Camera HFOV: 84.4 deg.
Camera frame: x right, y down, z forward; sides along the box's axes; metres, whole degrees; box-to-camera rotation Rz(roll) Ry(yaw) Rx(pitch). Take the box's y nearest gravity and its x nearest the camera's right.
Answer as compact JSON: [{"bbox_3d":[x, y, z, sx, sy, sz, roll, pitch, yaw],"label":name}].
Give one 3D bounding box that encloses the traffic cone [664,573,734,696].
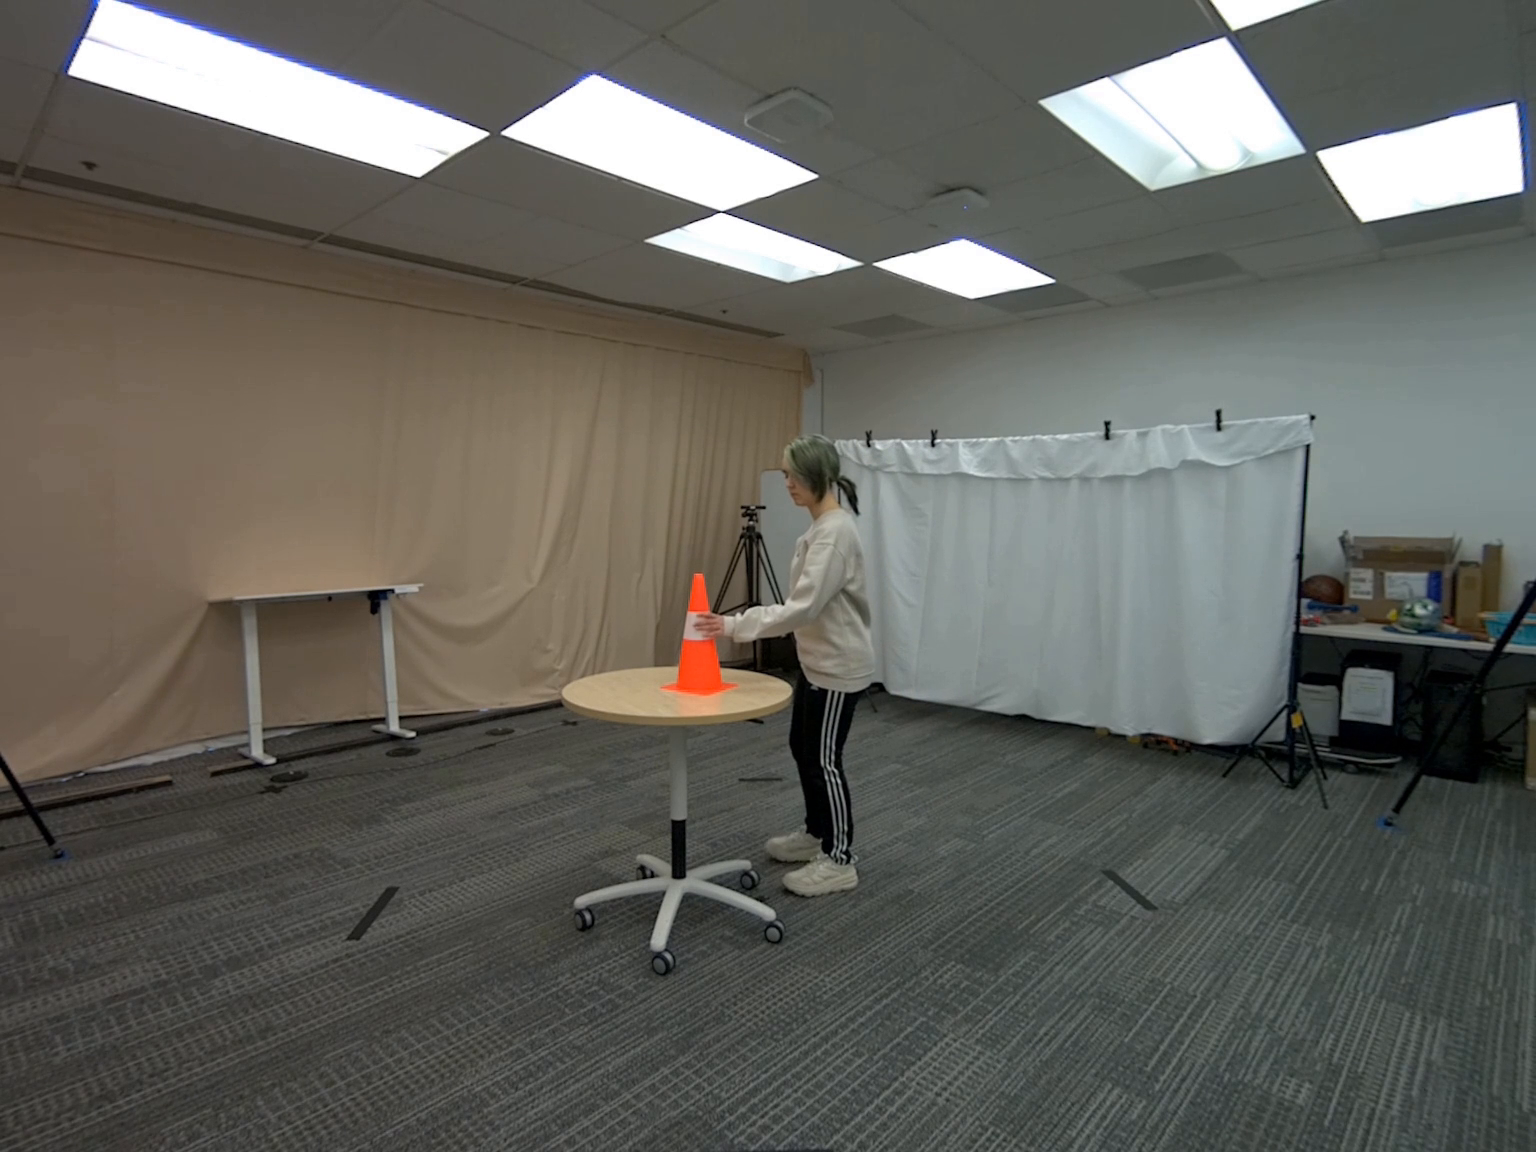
[{"bbox_3d":[-0.235,0.189,2.831,0.211,0.383,0.198,-1,3,32],"label":"traffic cone"}]
